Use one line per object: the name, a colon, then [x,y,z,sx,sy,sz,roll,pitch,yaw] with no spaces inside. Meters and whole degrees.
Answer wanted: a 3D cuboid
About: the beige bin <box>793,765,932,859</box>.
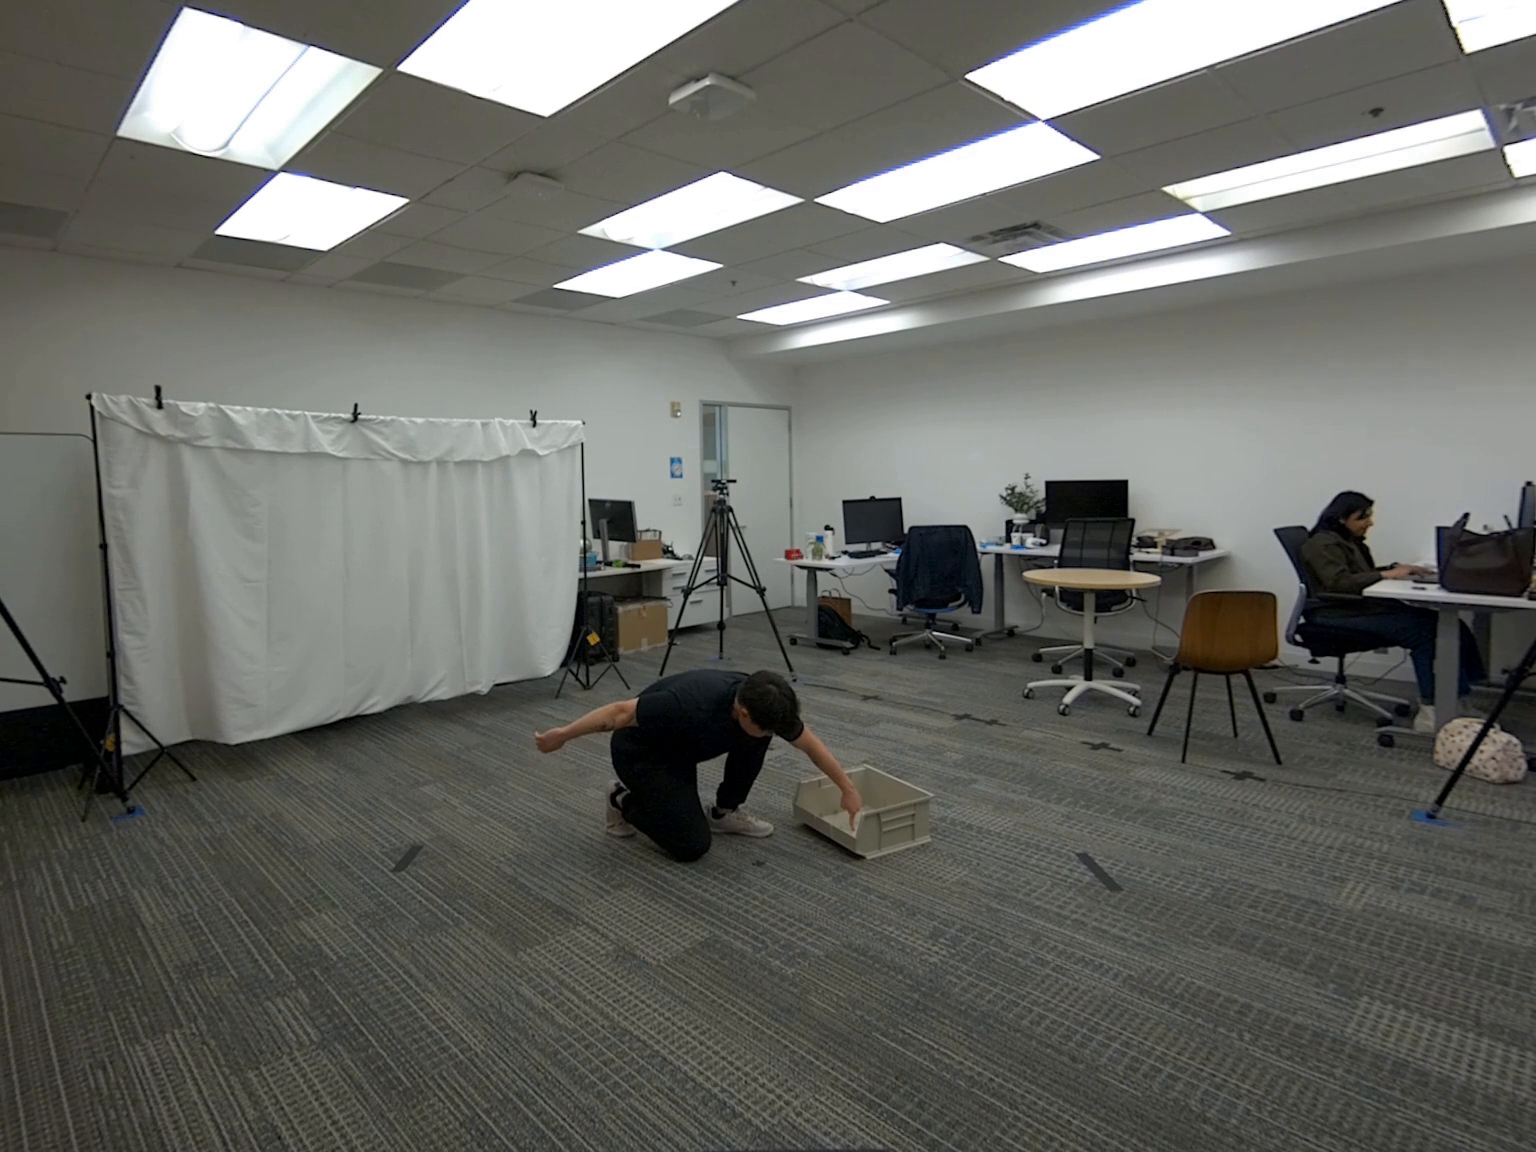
beige bin: [0.364,0.917,3.357,0.368,0.188,0.434,-4,6,-31]
